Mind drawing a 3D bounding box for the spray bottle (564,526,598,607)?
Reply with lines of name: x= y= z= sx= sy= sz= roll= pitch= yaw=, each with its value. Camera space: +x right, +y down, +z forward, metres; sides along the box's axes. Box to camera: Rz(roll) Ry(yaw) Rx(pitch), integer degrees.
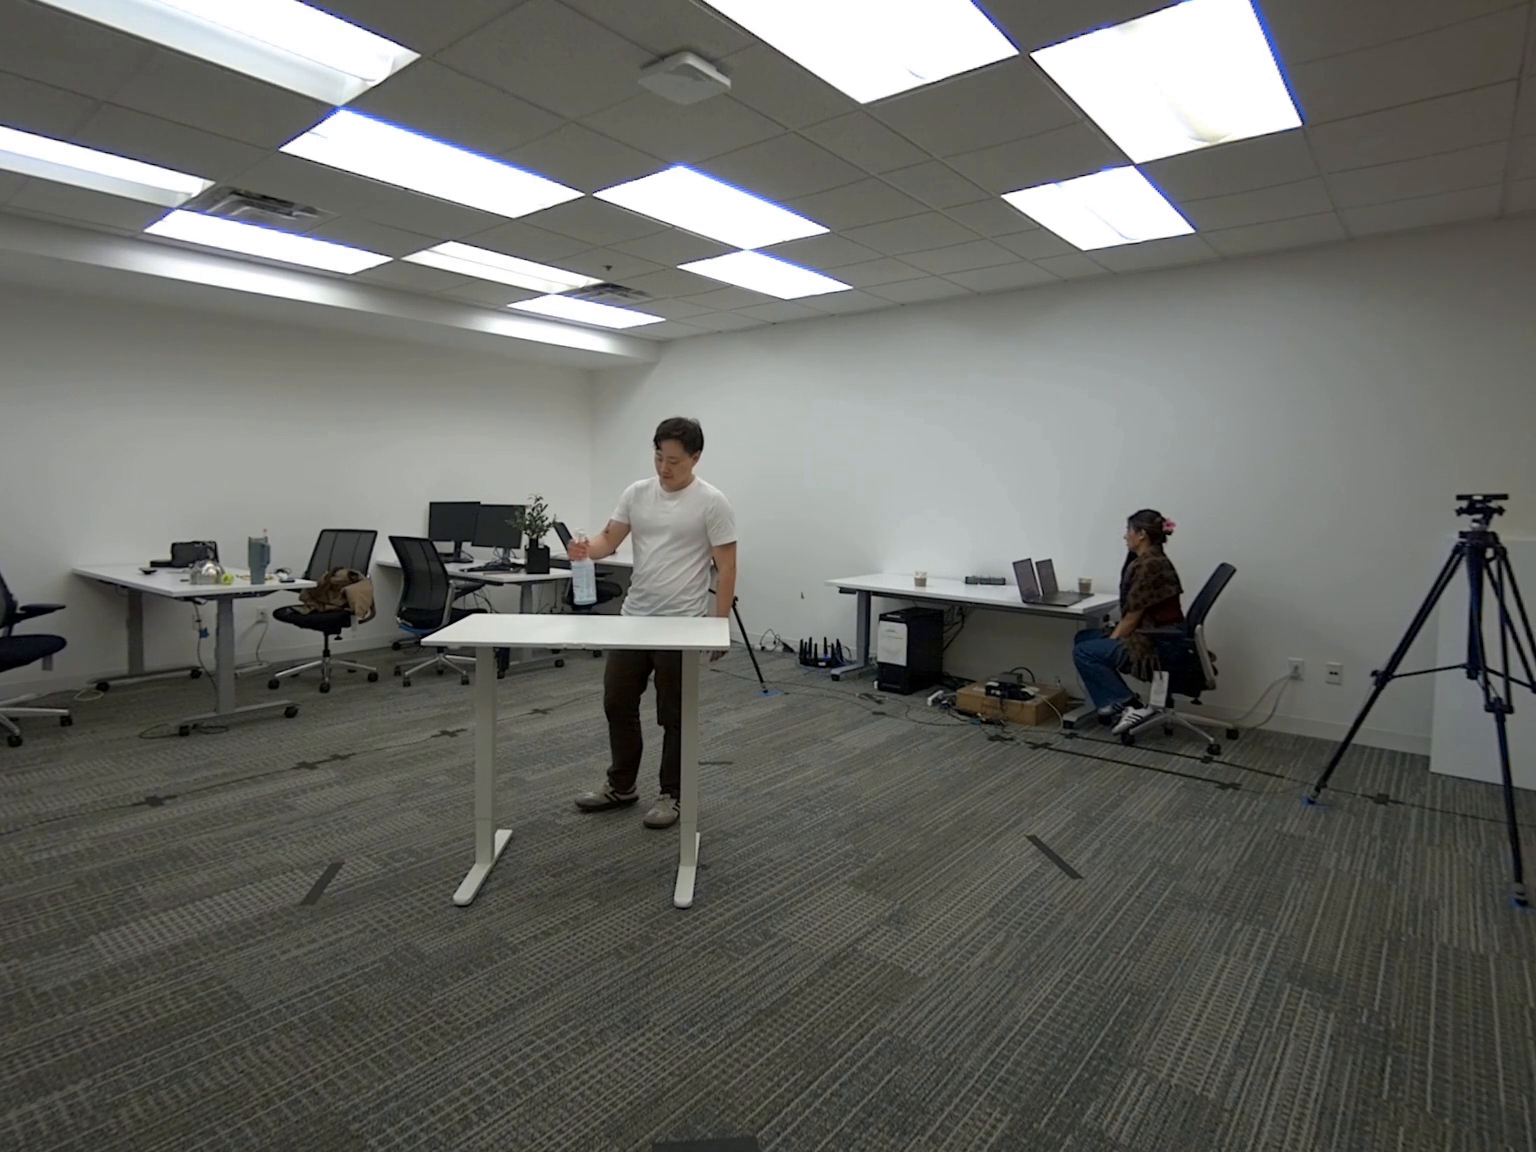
spray bottle: x=-0.735 y=-0.041 z=3.293 sx=0.090 sy=0.296 sz=0.088 roll=6 pitch=7 yaw=30
